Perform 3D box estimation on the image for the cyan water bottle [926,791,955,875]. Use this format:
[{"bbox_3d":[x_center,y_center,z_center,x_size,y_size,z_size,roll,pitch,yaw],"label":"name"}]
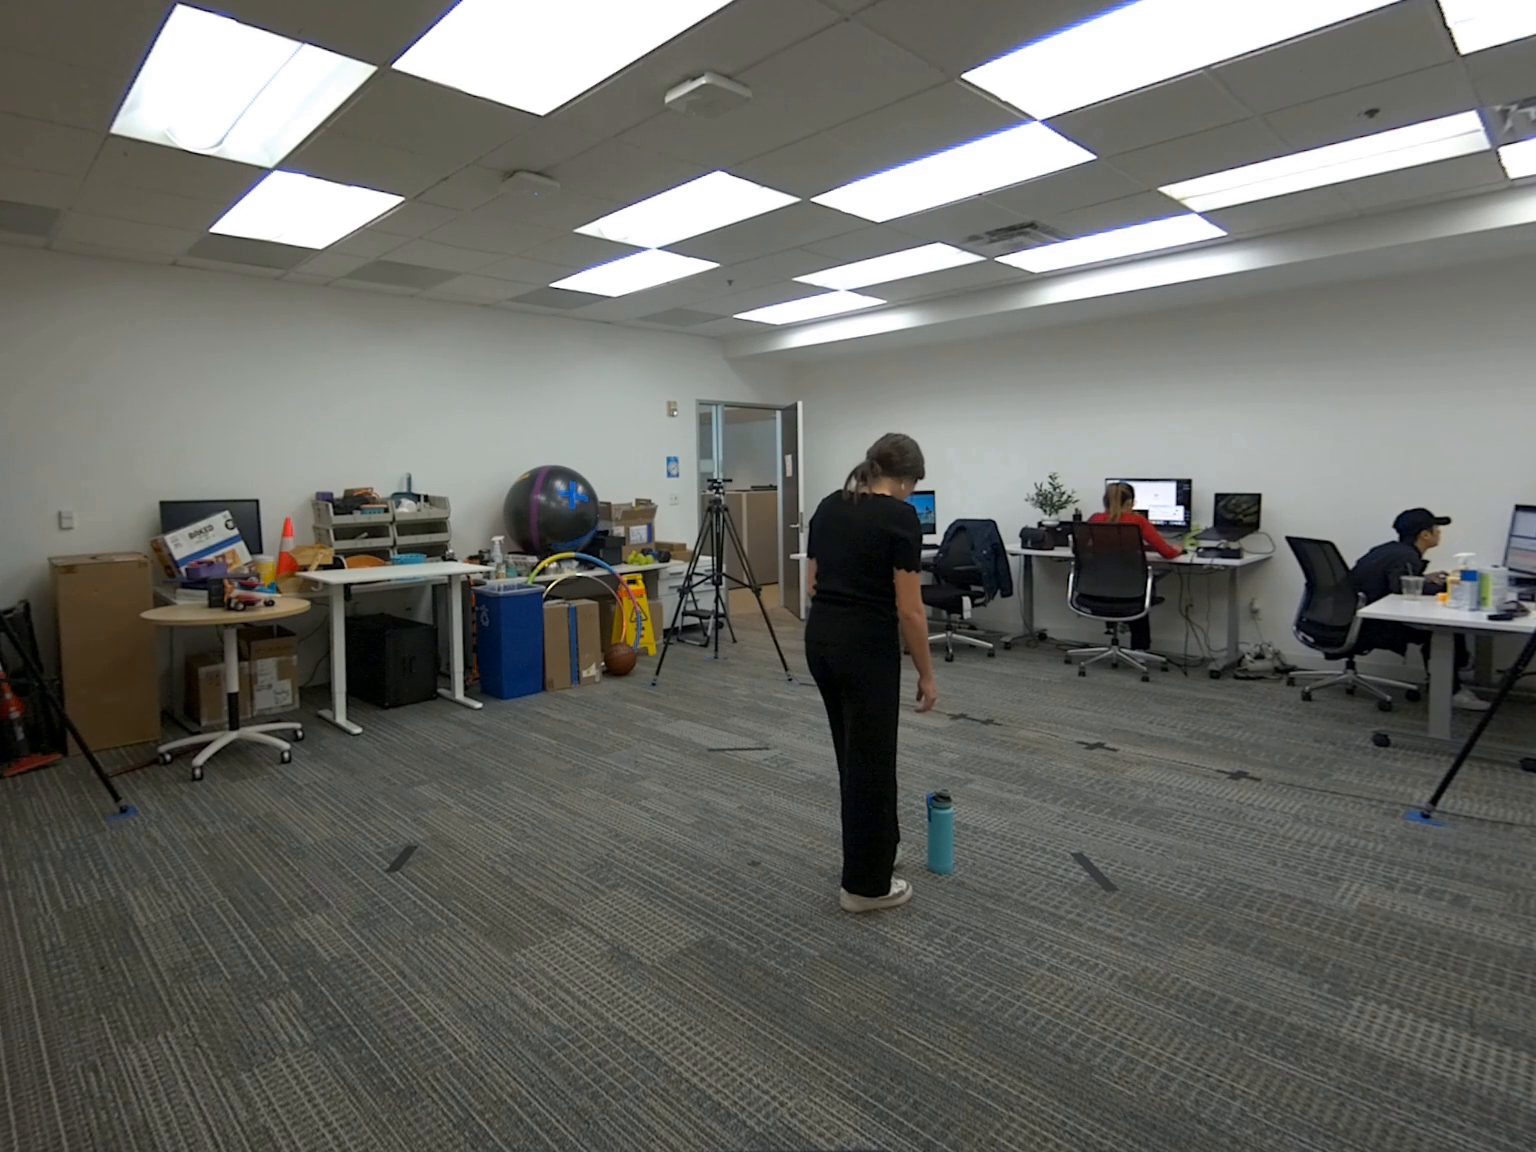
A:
[{"bbox_3d":[0.611,0.899,3.028,0.092,0.282,0.093,-1,5,-2],"label":"cyan water bottle"}]
